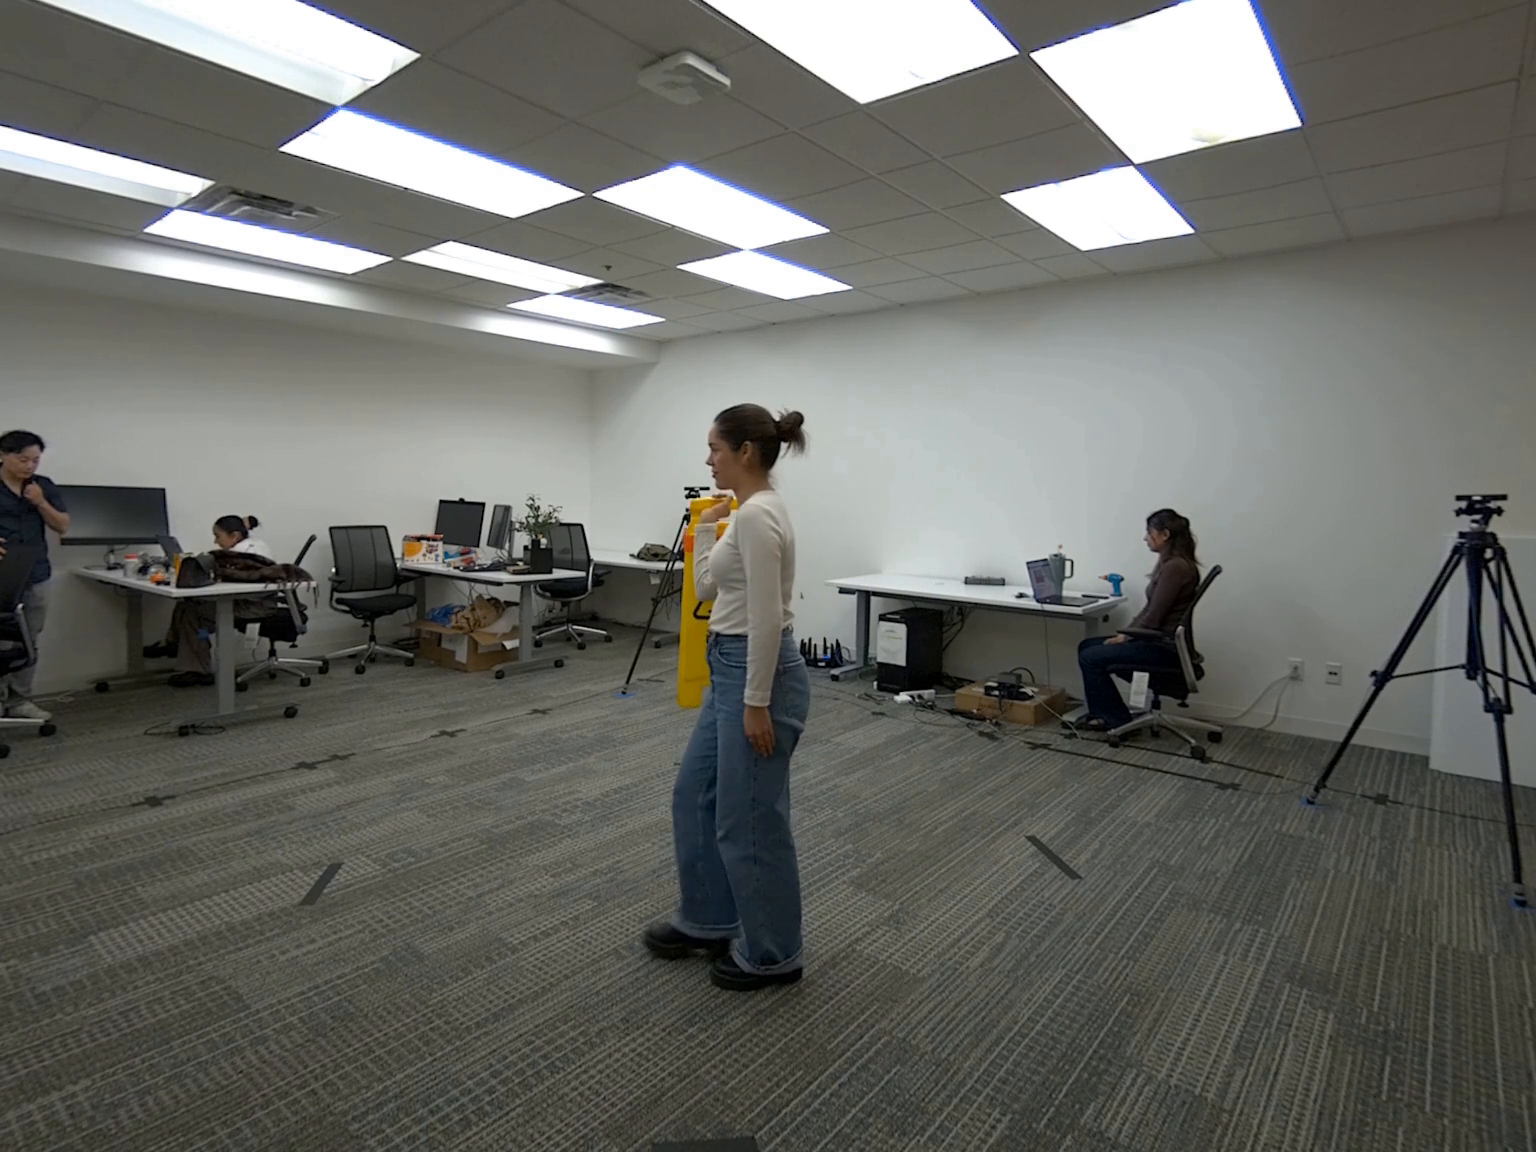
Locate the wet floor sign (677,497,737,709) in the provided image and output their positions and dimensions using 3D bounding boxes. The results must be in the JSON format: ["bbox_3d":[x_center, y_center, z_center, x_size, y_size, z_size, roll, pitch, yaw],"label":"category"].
[{"bbox_3d":[-0.154,0.070,2.717,0.285,0.637,0.291,0,15,8],"label":"wet floor sign"}]
